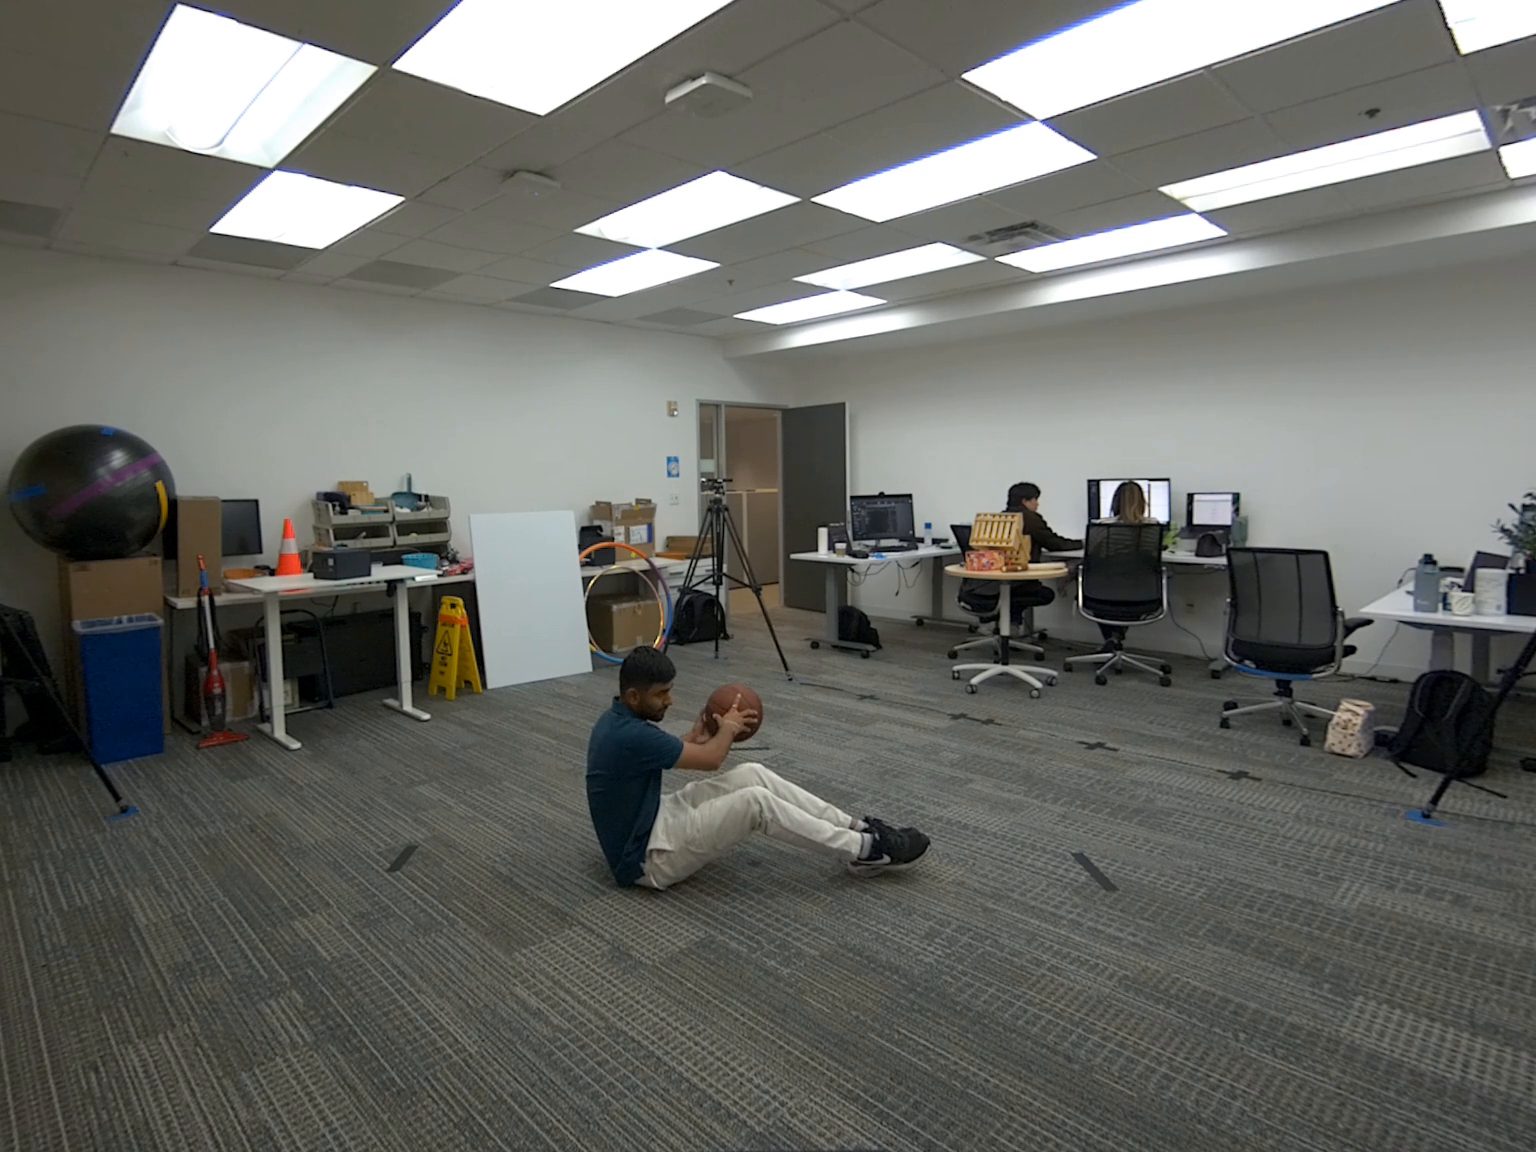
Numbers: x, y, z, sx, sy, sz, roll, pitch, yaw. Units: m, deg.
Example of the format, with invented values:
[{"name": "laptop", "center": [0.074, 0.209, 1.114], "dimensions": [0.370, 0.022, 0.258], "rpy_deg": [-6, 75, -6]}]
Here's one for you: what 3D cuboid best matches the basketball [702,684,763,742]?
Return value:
[{"name": "basketball", "center": [-0.131, 0.585, 3.493], "dimensions": [0.236, 0.235, 0.237], "rpy_deg": [-1, 5, -2]}]
